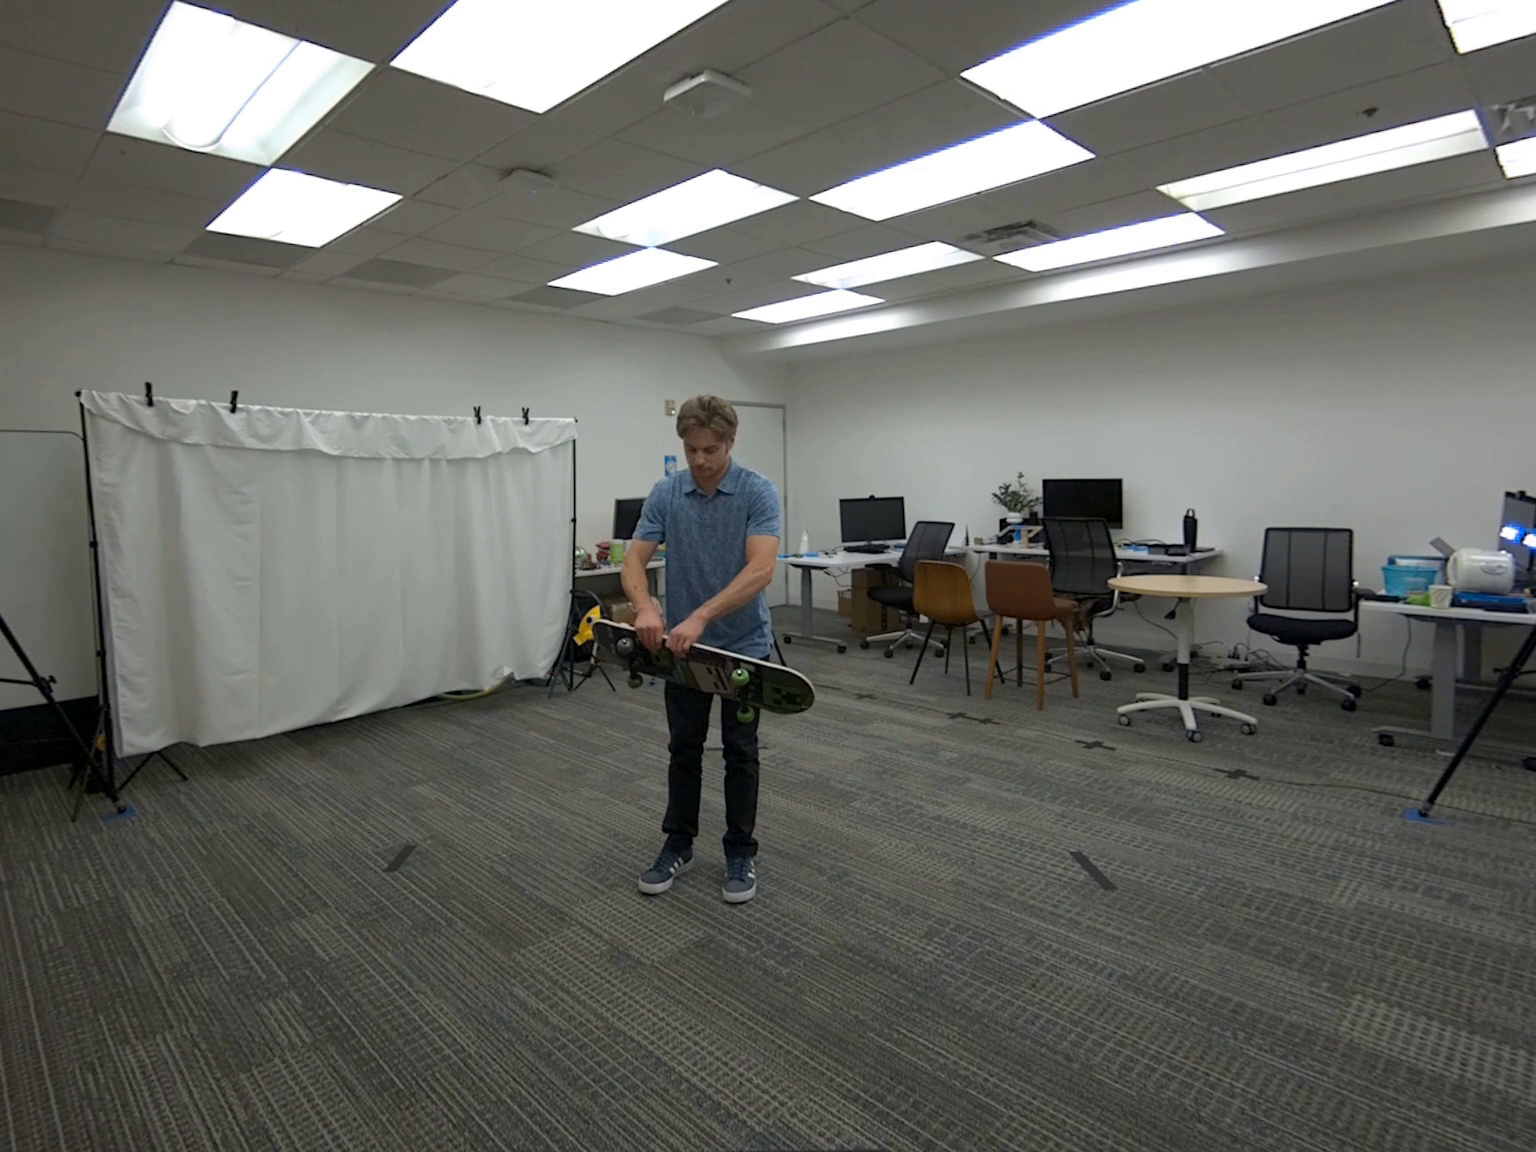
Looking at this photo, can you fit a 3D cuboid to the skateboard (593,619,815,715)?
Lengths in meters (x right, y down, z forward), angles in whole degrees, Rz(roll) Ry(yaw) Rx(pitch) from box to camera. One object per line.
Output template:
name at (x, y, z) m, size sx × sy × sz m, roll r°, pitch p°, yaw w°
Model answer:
skateboard at (-0.231, 0.298, 2.611) m, size 0.806 × 0.188 × 0.110 m, roll 11°, pitch 37°, yaw 26°
